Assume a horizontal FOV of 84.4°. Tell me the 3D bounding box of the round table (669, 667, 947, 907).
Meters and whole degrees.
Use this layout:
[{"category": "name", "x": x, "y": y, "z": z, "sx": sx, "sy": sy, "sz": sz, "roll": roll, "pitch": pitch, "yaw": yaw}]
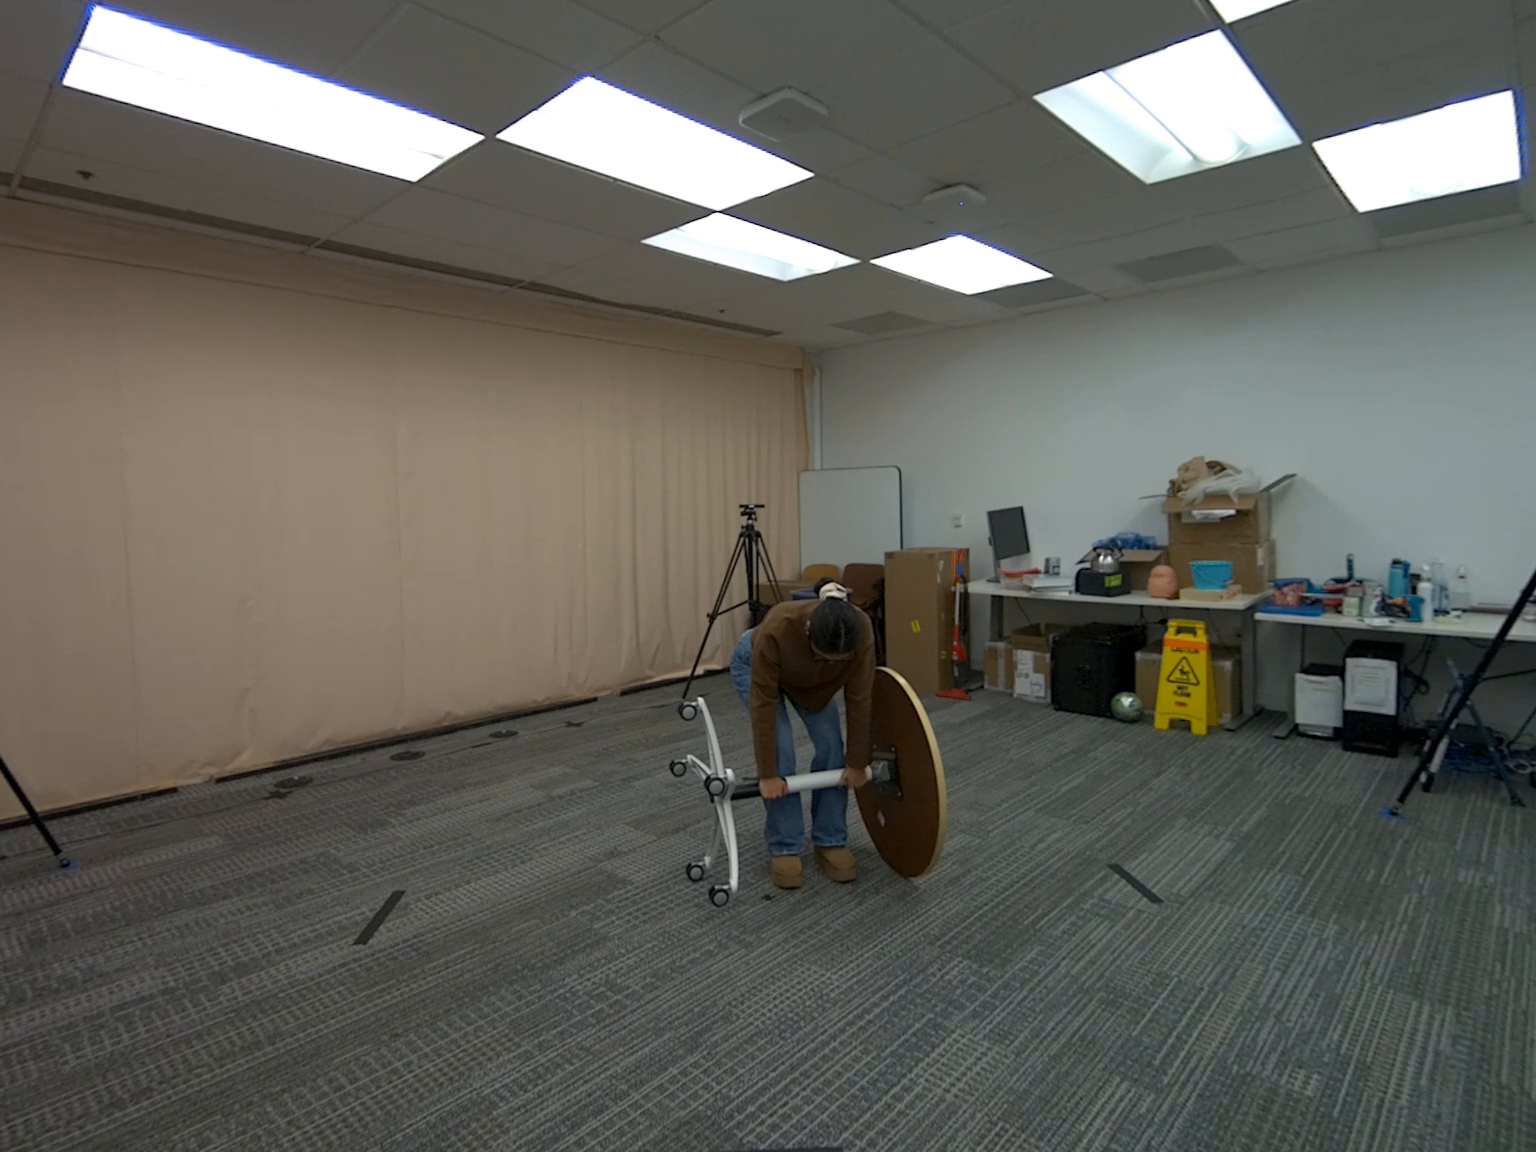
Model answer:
[{"category": "round table", "x": 0.098, "y": 0.772, "z": 3.086, "sx": 0.782, "sy": 0.761, "sz": 0.778, "roll": -6, "pitch": 5, "yaw": -16}]
